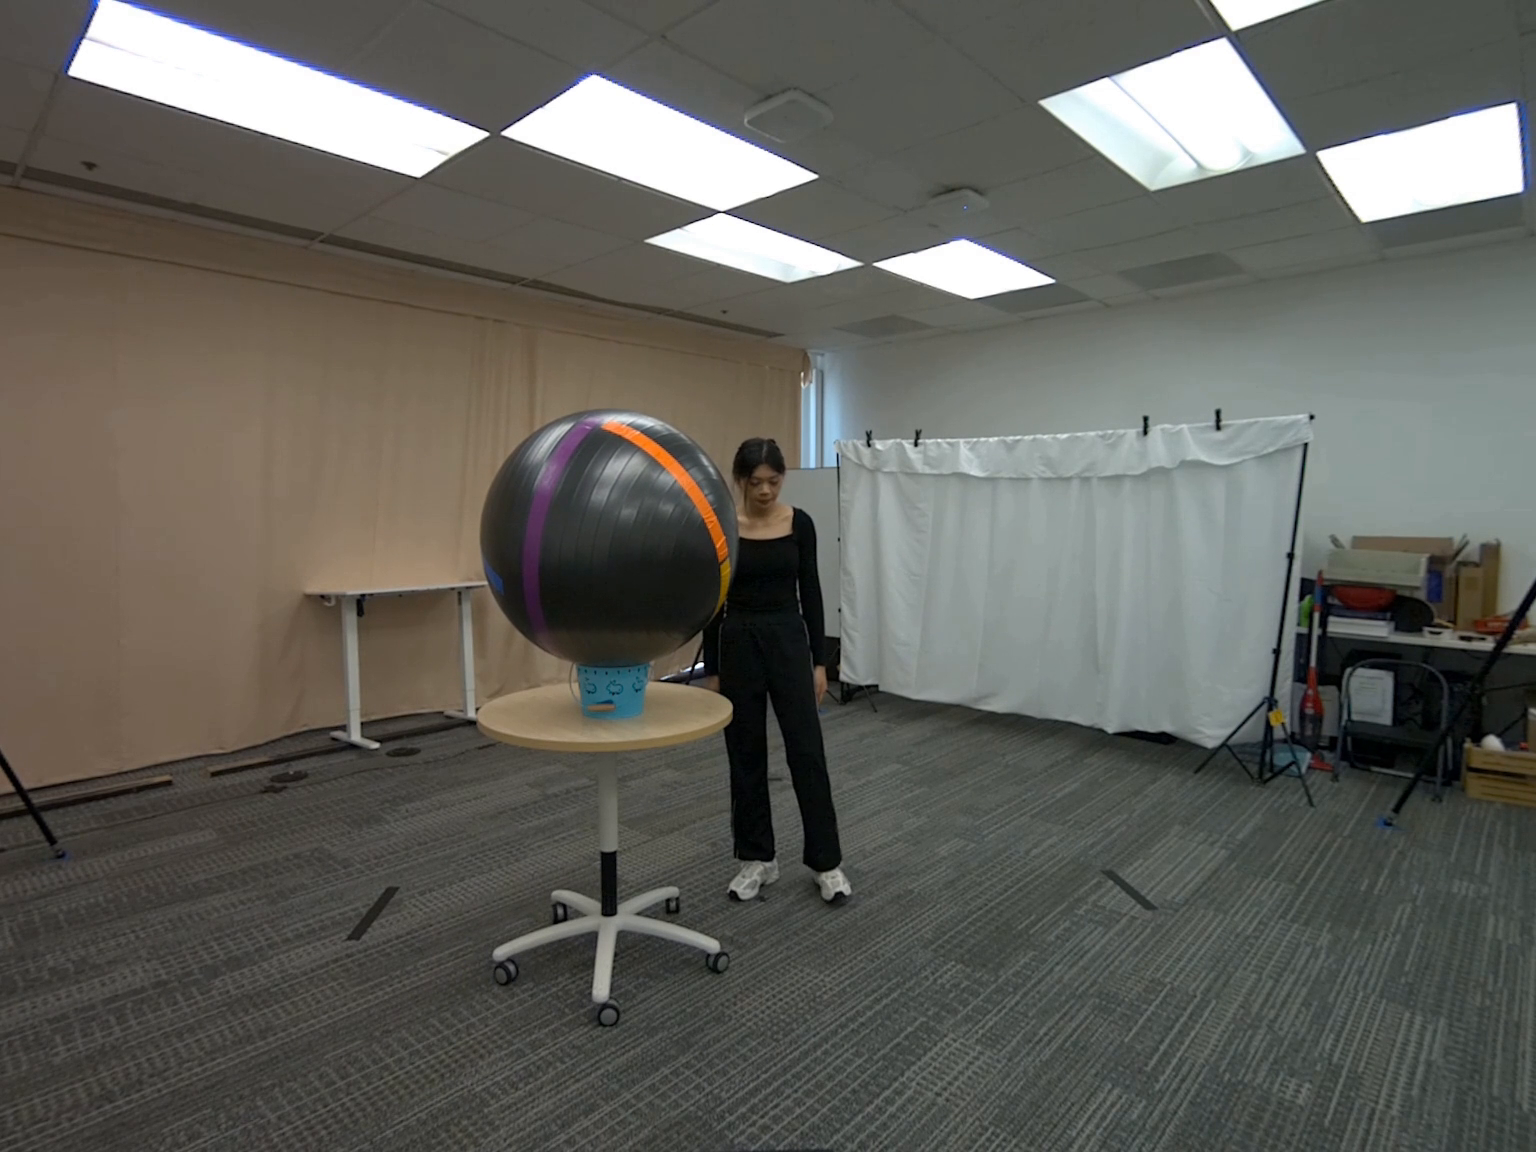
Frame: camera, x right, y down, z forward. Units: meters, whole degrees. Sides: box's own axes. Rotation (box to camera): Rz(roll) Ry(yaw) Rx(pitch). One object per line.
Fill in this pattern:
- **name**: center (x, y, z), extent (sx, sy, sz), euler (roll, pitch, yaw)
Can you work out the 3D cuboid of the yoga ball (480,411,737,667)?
- **yoga ball**: center (-0.464, -0.106, 2.487), extent (0.757, 0.756, 0.760), euler (0, 4, -2)
